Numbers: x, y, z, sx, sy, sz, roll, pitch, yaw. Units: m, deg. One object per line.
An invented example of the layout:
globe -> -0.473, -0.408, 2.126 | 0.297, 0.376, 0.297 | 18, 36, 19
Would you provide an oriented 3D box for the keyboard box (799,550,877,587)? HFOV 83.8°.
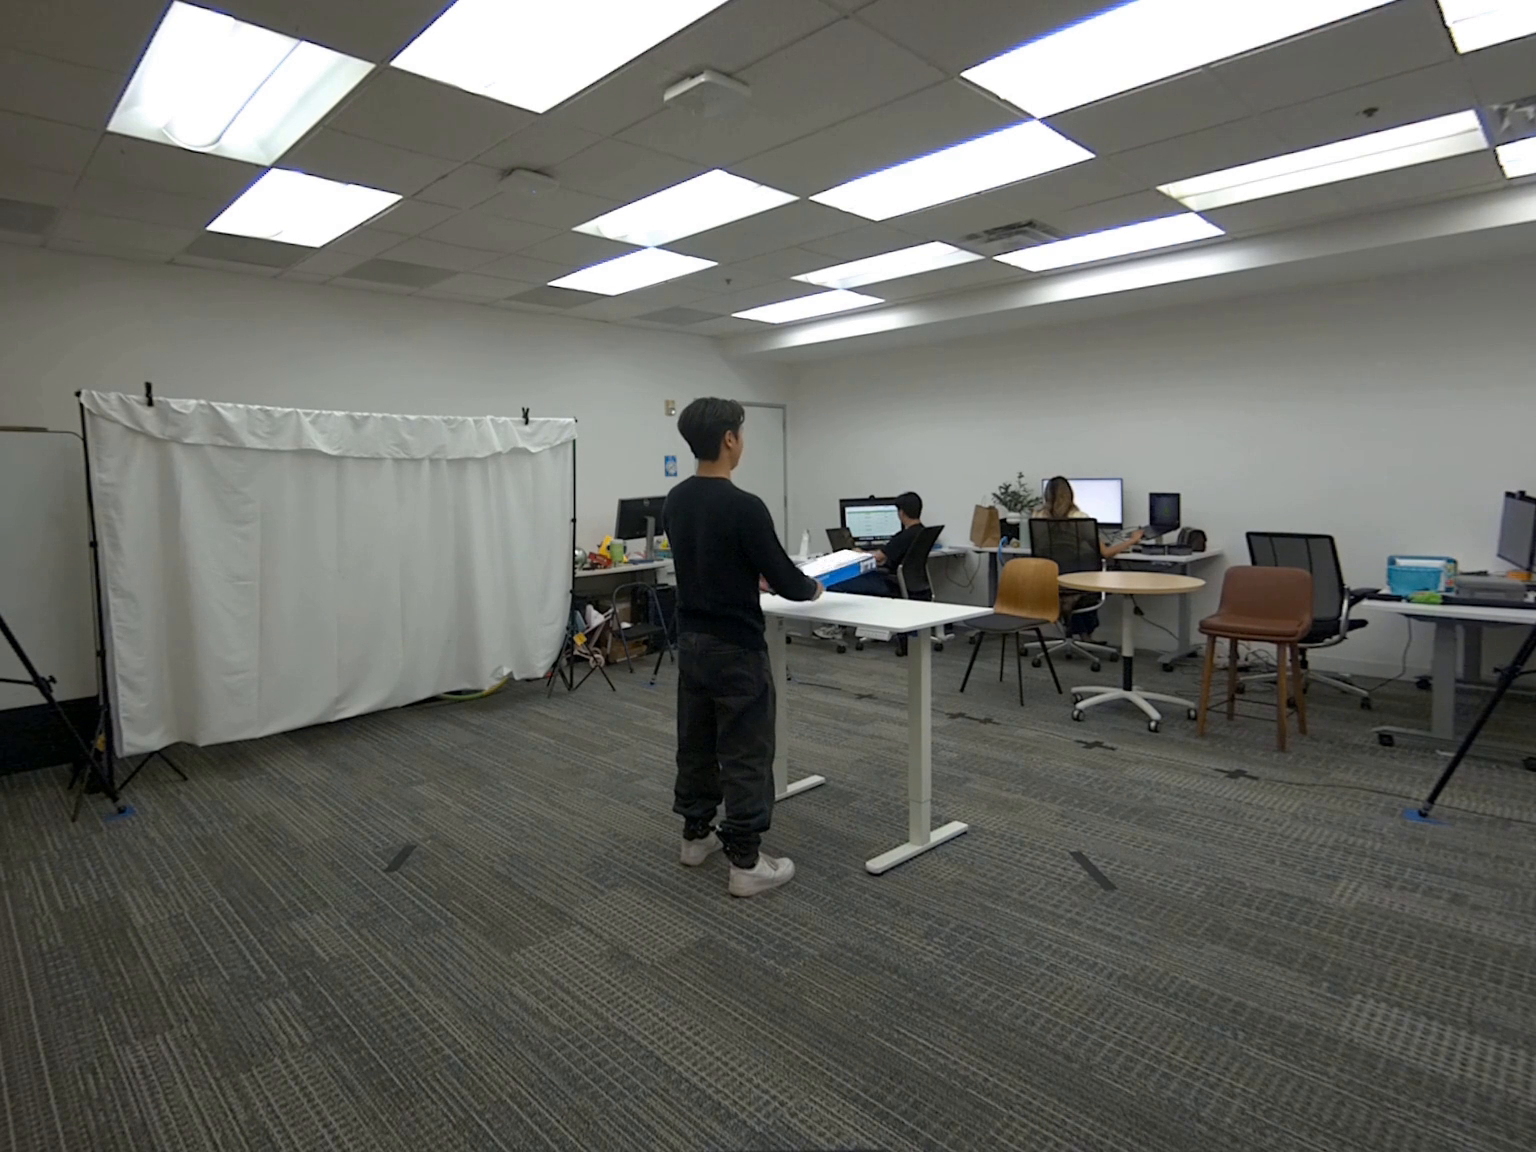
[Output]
keyboard box -> 0.223, -0.012, 3.343 | 0.429, 0.058, 0.182 | -19, 19, -37
